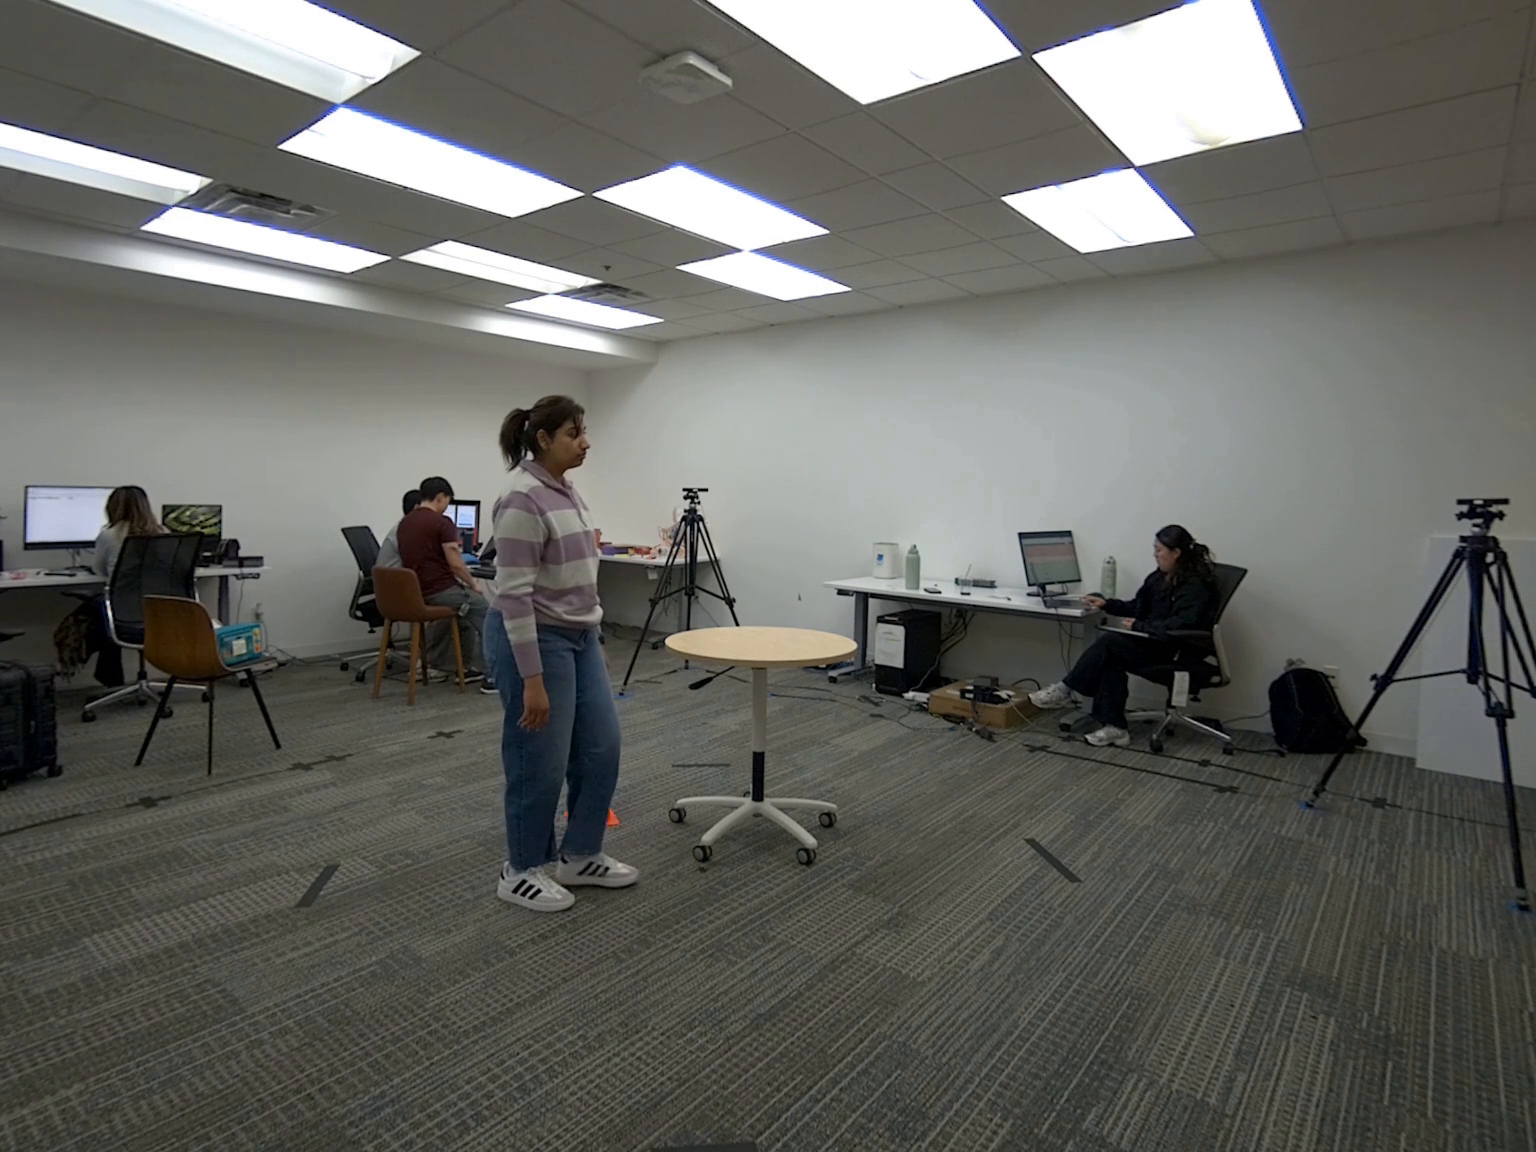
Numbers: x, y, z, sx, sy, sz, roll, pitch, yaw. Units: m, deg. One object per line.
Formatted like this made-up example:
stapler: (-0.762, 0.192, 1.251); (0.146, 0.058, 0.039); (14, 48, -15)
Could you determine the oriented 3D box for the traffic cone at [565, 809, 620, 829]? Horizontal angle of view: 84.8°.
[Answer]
traffic cone: (-0.743, 0.832, 3.557); (0.199, 0.382, 0.210); (1, 4, -22)
